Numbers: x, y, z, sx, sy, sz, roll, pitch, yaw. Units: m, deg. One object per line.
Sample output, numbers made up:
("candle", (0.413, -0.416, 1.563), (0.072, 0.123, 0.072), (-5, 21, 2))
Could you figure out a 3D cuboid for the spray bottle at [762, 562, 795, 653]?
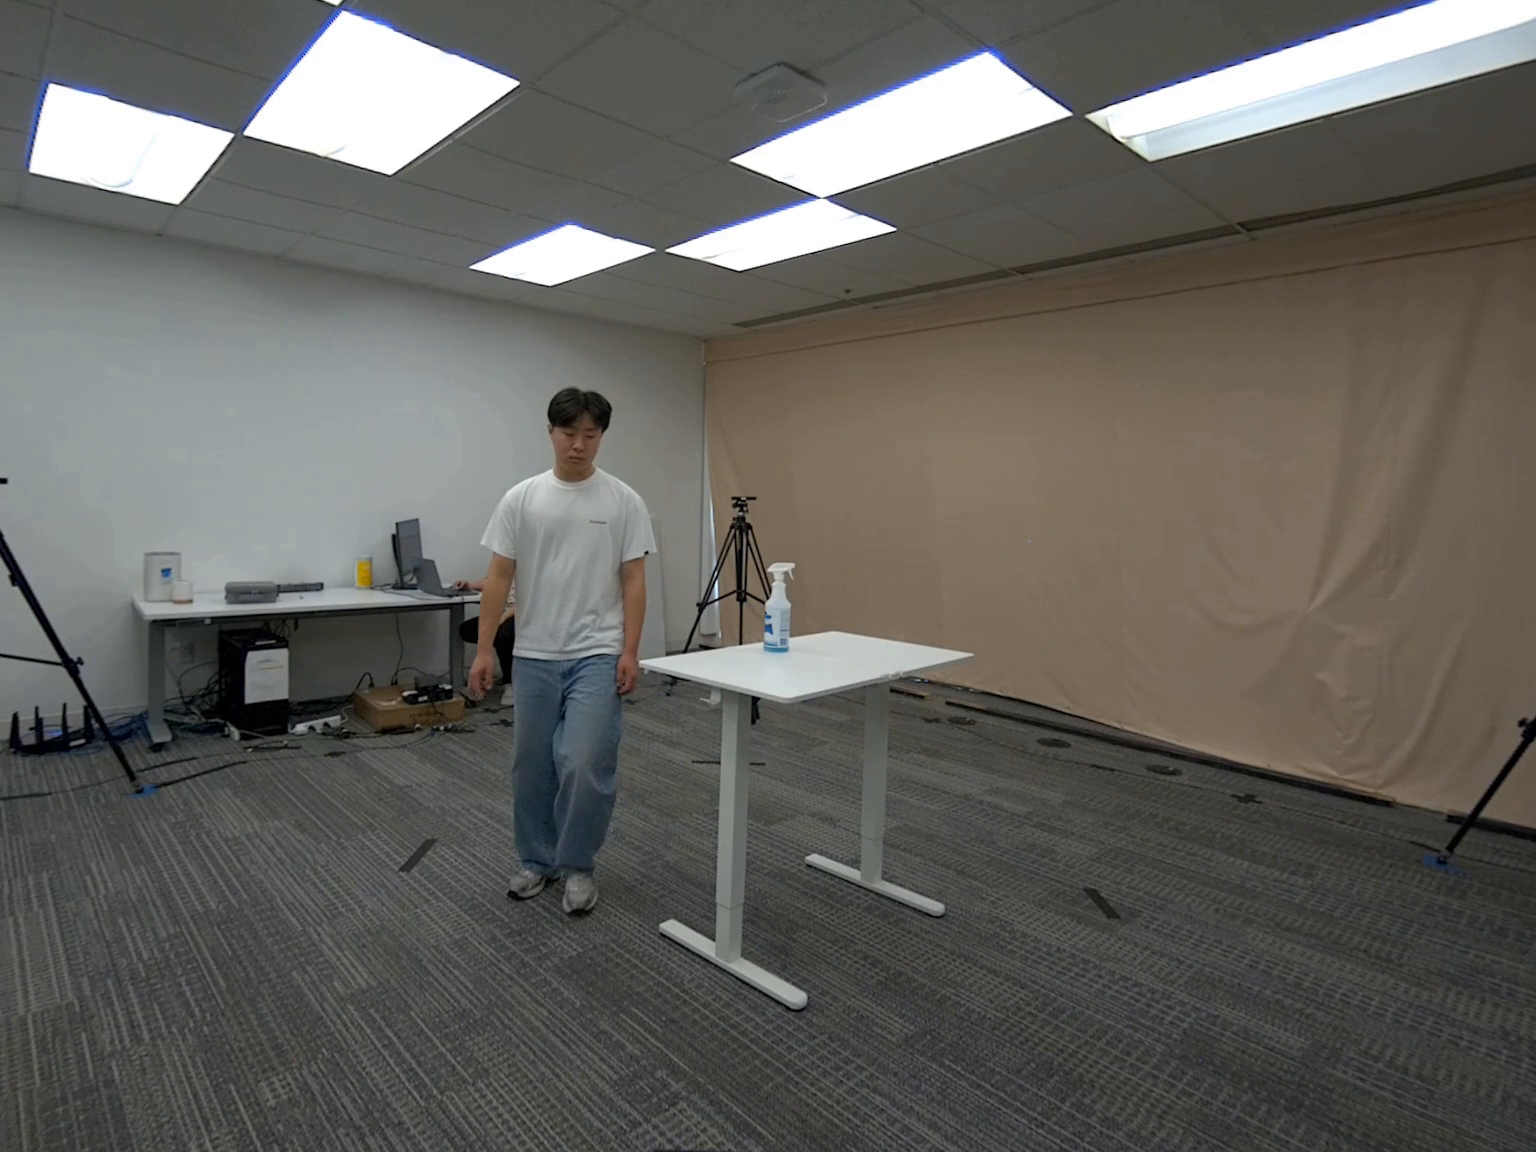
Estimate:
("spray bottle", (0.017, 0.105, 2.829), (0.092, 0.296, 0.085), (3, 4, 30))
